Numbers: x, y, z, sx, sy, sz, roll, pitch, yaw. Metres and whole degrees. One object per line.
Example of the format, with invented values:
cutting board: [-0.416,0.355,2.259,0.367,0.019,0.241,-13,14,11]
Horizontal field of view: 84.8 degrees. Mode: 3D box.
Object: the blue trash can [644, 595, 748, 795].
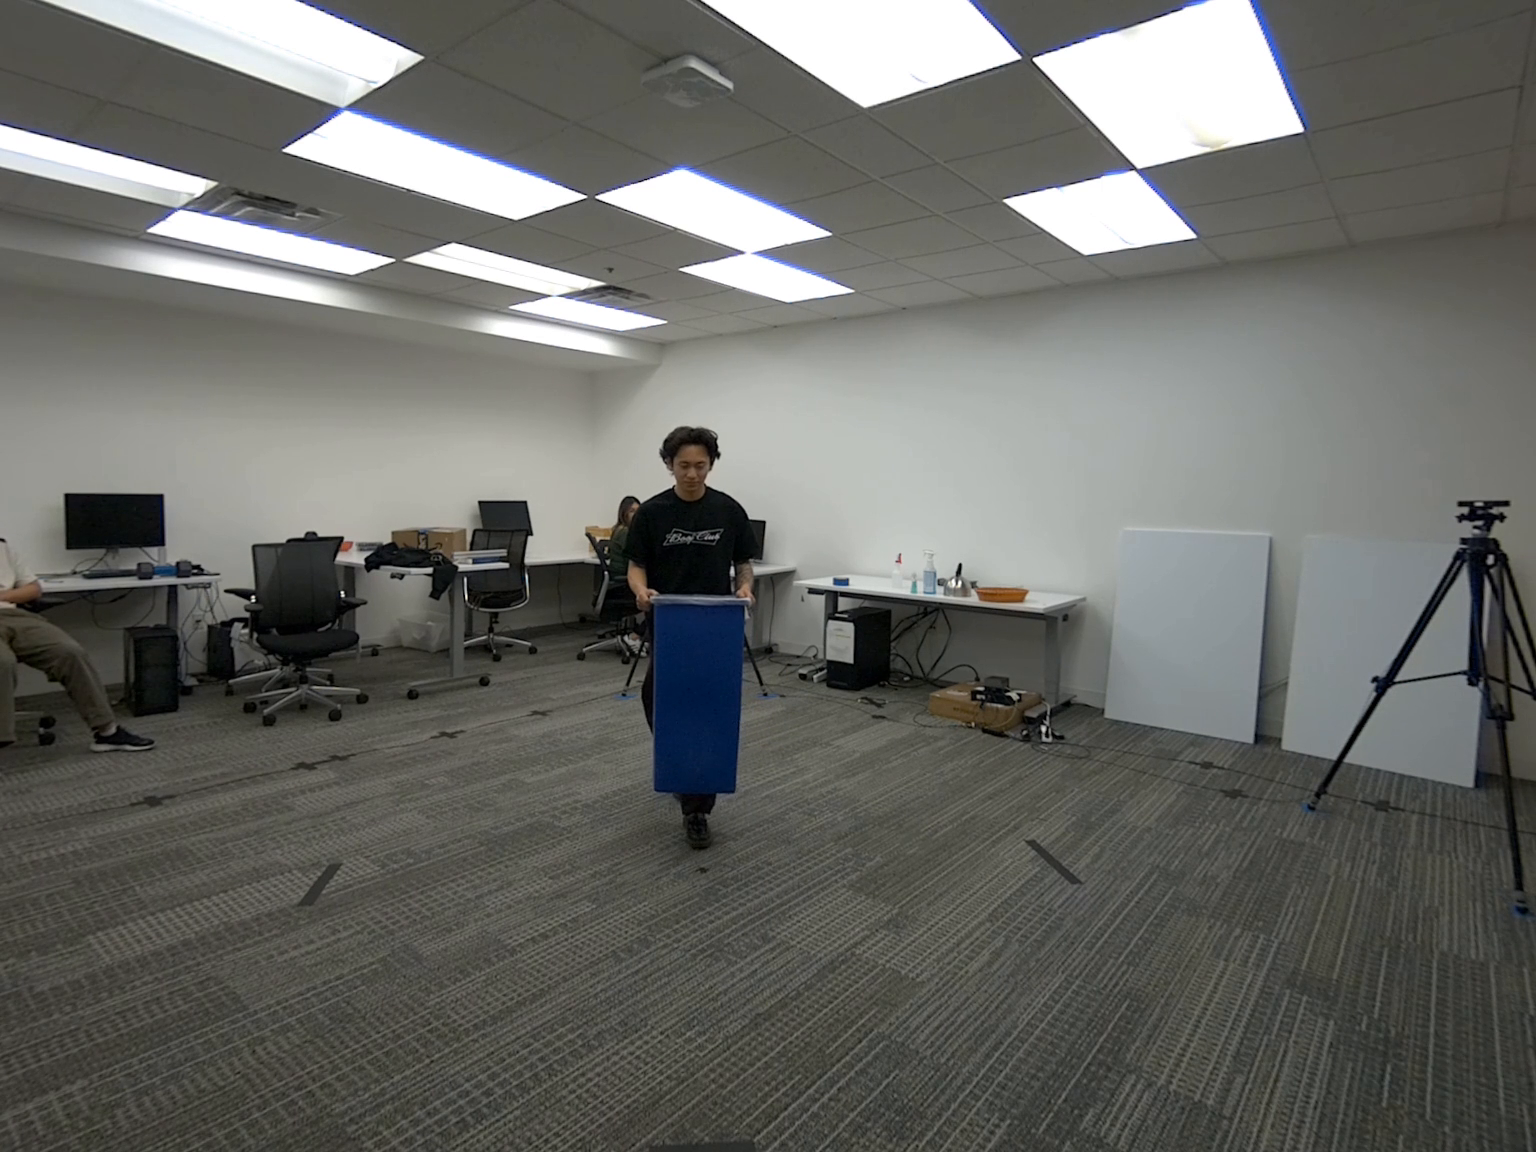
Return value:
blue trash can: [-0.294,0.435,3.278,0.372,0.716,0.379,2,-3,-5]
